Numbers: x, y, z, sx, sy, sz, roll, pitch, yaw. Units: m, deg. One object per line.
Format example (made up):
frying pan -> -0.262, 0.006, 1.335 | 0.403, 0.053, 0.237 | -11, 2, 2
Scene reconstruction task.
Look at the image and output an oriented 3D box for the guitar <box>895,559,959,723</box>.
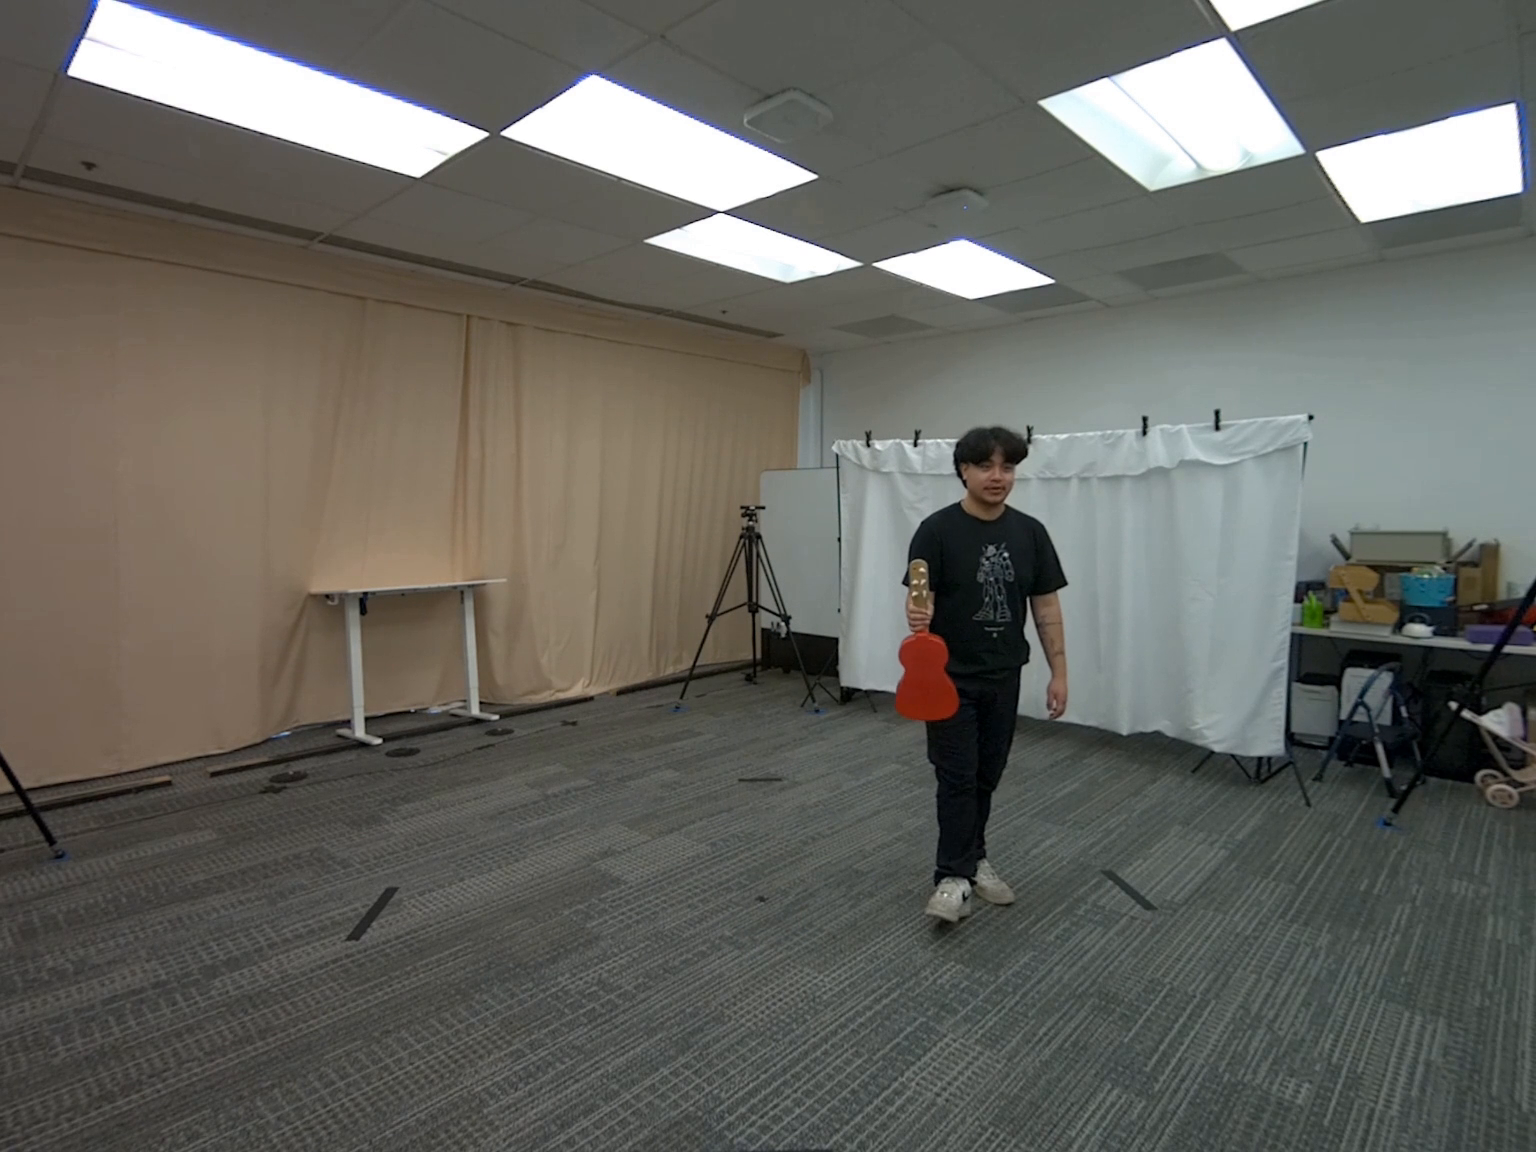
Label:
guitar -> 0.461, 0.208, 2.626 | 0.196, 0.495, 0.070 | -13, 6, 17
